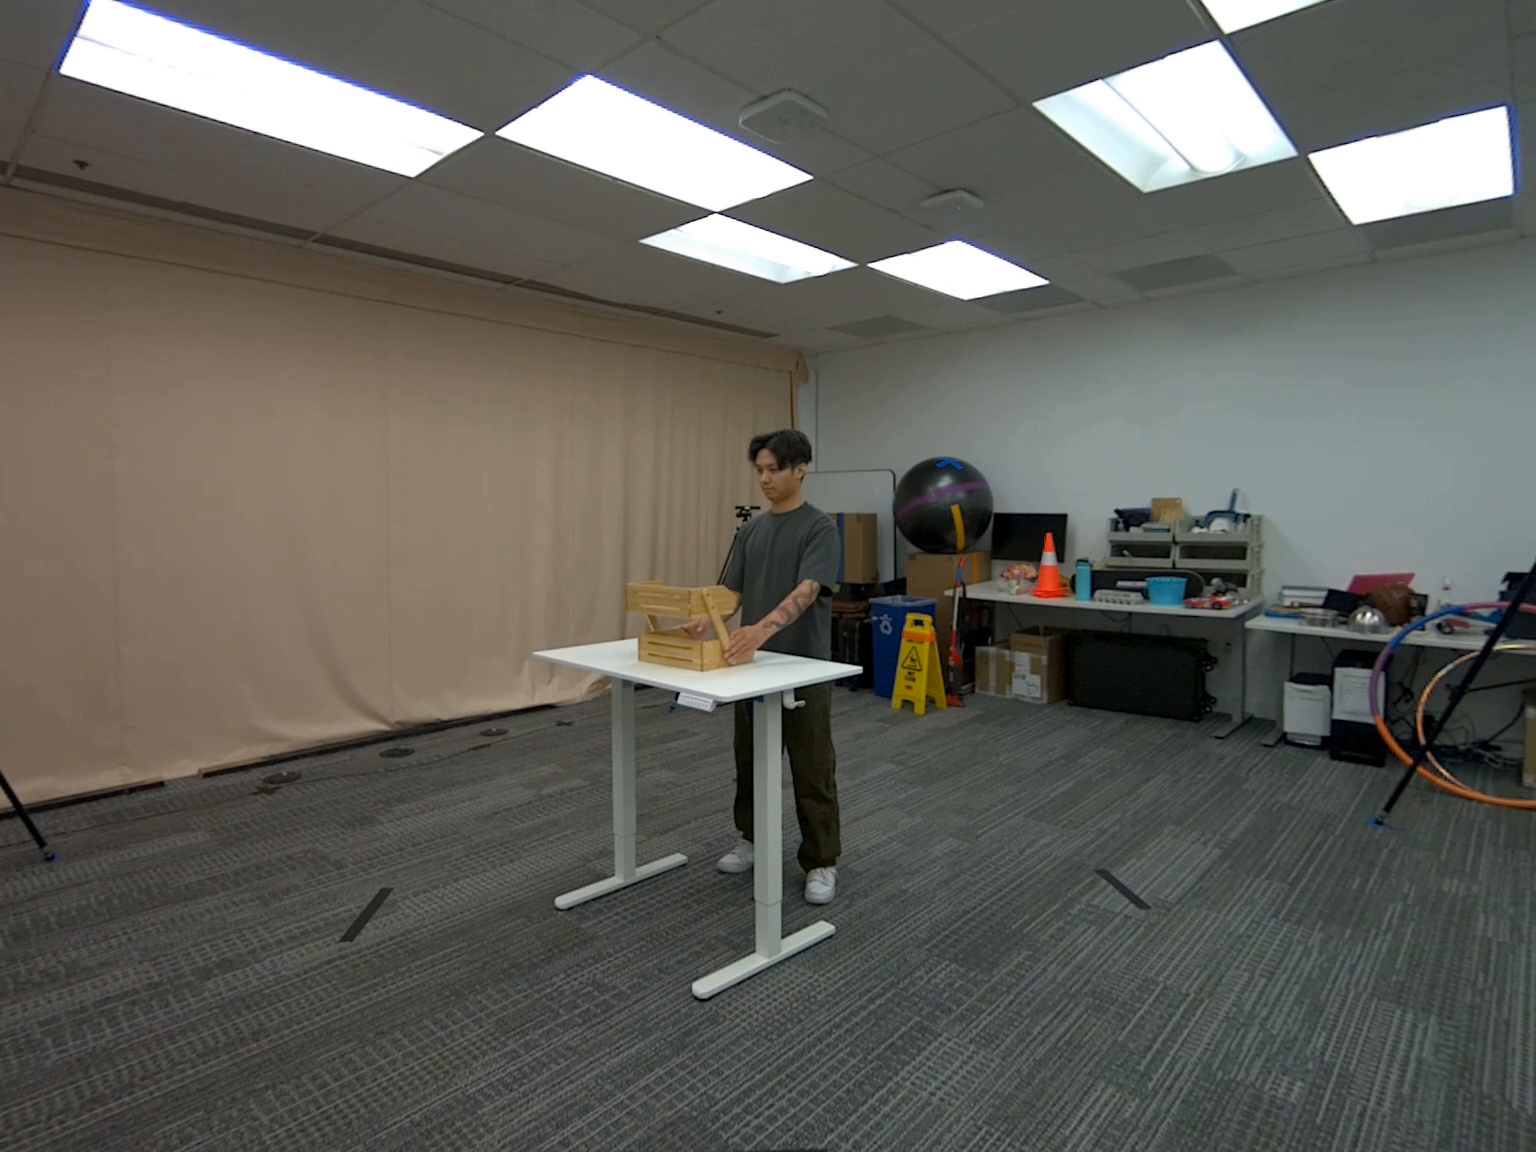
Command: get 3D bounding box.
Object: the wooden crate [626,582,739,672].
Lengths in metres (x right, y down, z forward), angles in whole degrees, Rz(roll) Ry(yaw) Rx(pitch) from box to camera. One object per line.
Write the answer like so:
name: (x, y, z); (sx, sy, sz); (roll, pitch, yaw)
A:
wooden crate: (-0.251, 0.149, 2.751); (0.335, 0.273, 0.293); (2, 5, 41)
